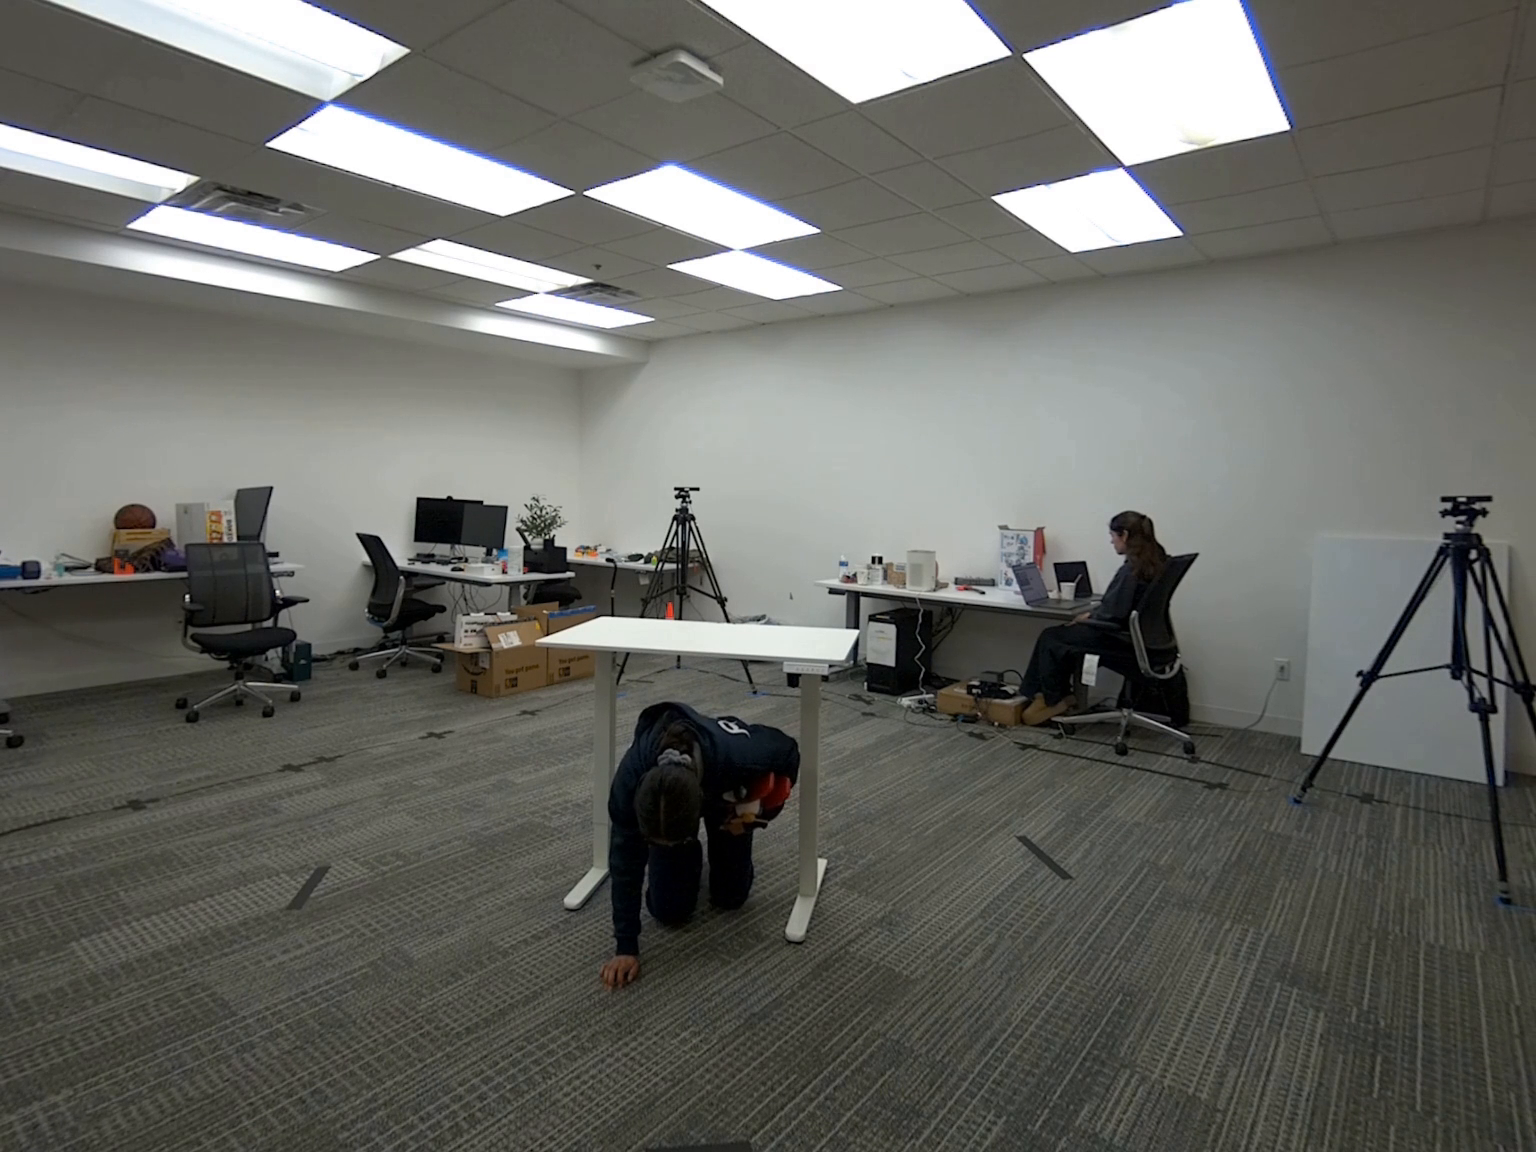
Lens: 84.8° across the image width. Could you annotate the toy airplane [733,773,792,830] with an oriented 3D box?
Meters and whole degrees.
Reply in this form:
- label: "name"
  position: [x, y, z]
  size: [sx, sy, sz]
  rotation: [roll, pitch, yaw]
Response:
- label: "toy airplane"
  position: [-0.062, 0.617, 2.596]
  size: [0.151, 0.260, 0.259]
  rotation: [43, -21, -28]
